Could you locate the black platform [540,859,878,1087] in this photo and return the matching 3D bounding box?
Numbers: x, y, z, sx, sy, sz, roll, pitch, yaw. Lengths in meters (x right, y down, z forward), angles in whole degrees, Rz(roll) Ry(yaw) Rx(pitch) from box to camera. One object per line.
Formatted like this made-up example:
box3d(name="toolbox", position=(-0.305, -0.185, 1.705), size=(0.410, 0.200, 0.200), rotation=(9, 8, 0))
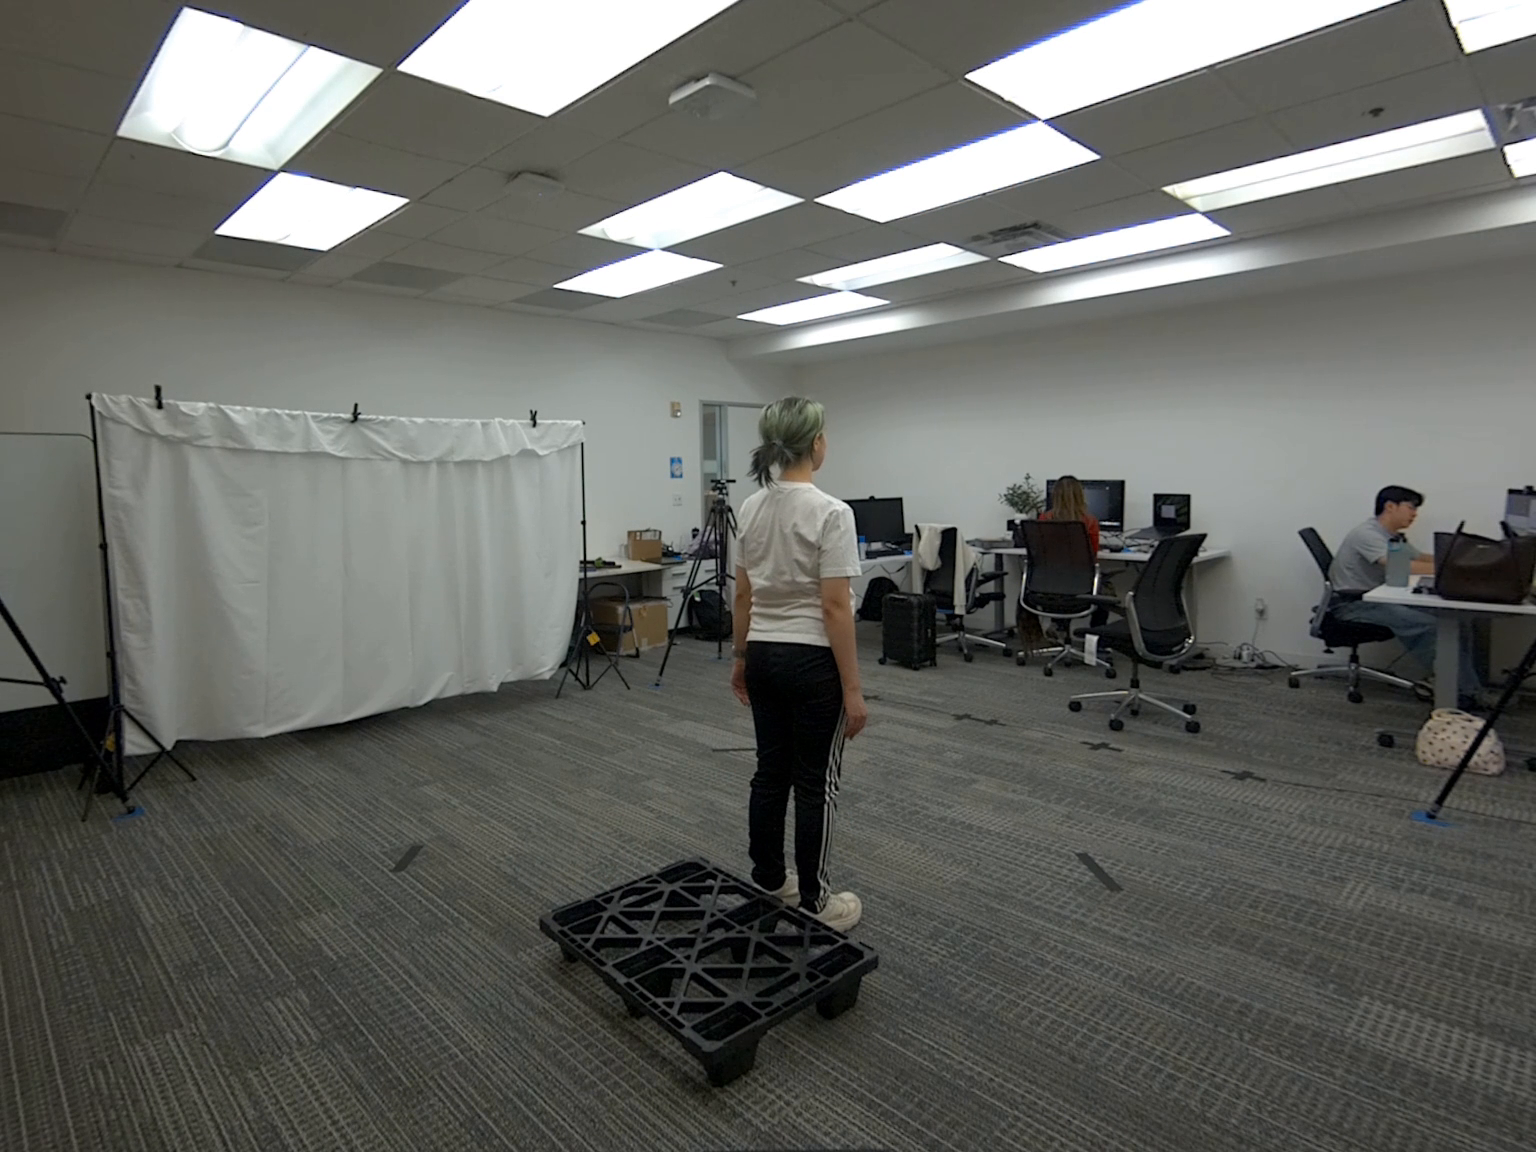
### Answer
box3d(name="black platform", position=(-0.181, 1.066, 2.399), size=(0.589, 0.142, 0.831), rotation=(-6, 9, -41))
